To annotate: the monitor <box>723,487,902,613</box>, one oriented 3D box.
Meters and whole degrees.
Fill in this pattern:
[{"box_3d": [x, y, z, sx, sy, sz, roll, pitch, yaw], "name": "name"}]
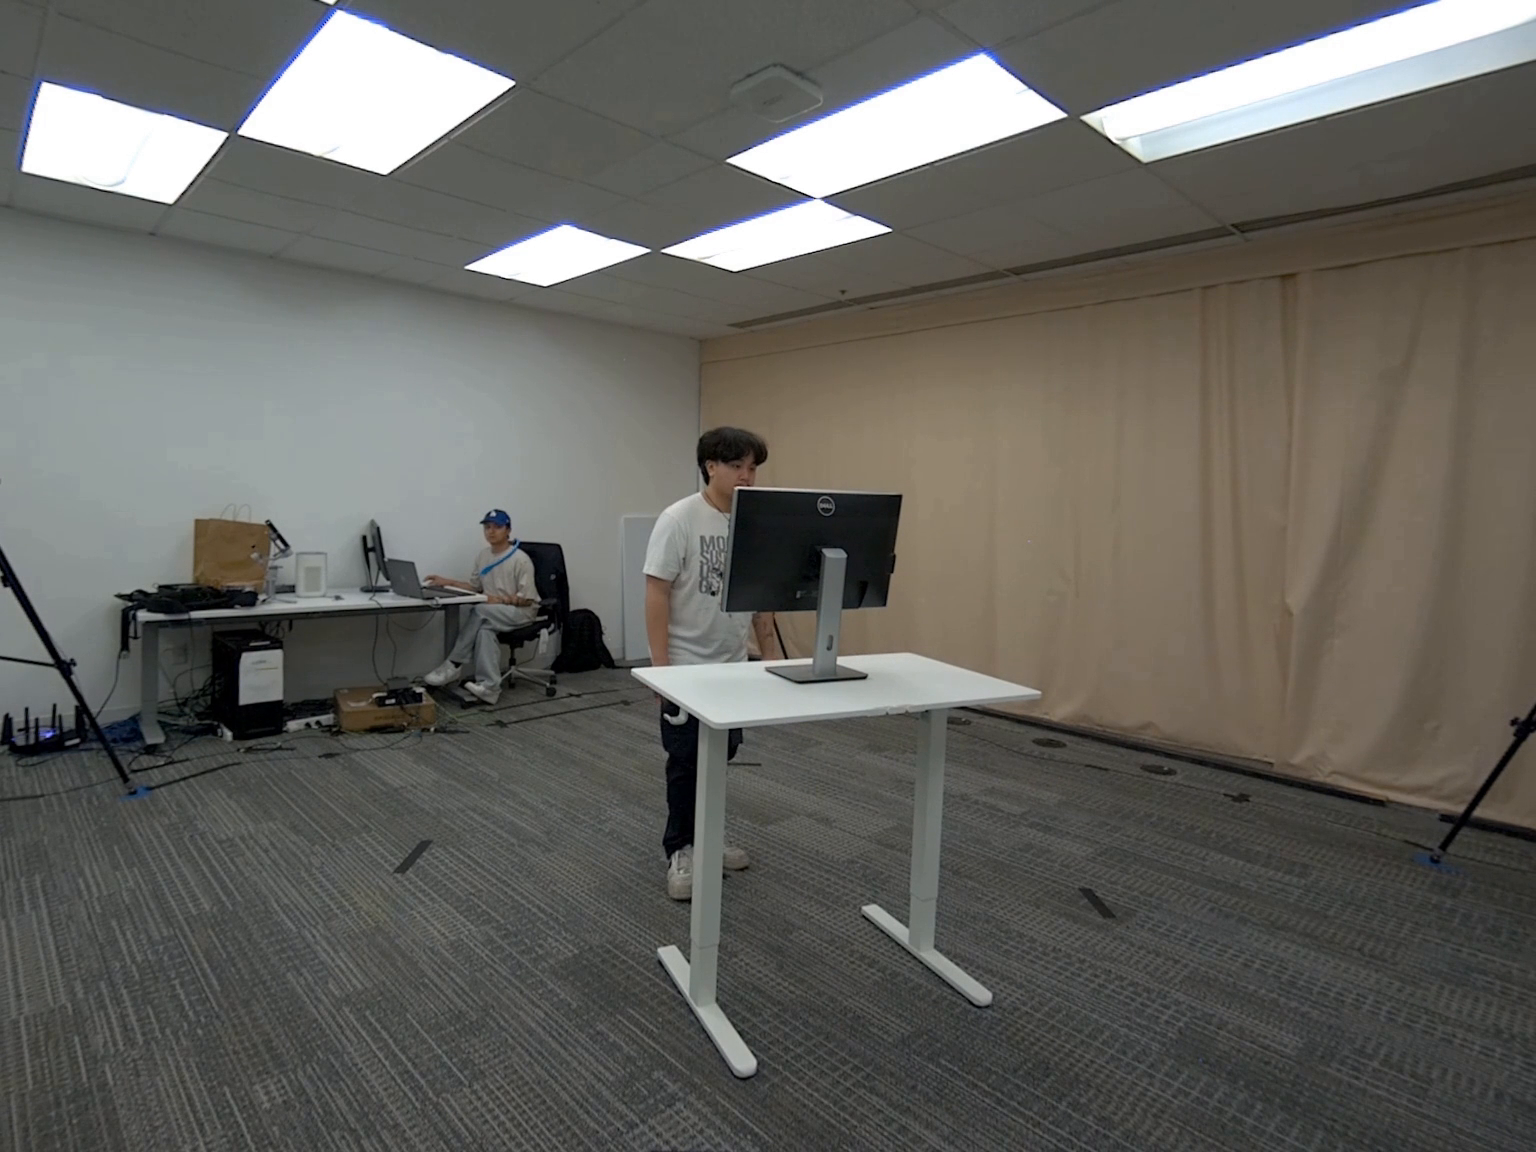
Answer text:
[{"box_3d": [0.161, 0.030, 2.419, 0.555, 0.551, 0.215, 0, 8, -27], "name": "monitor"}]
